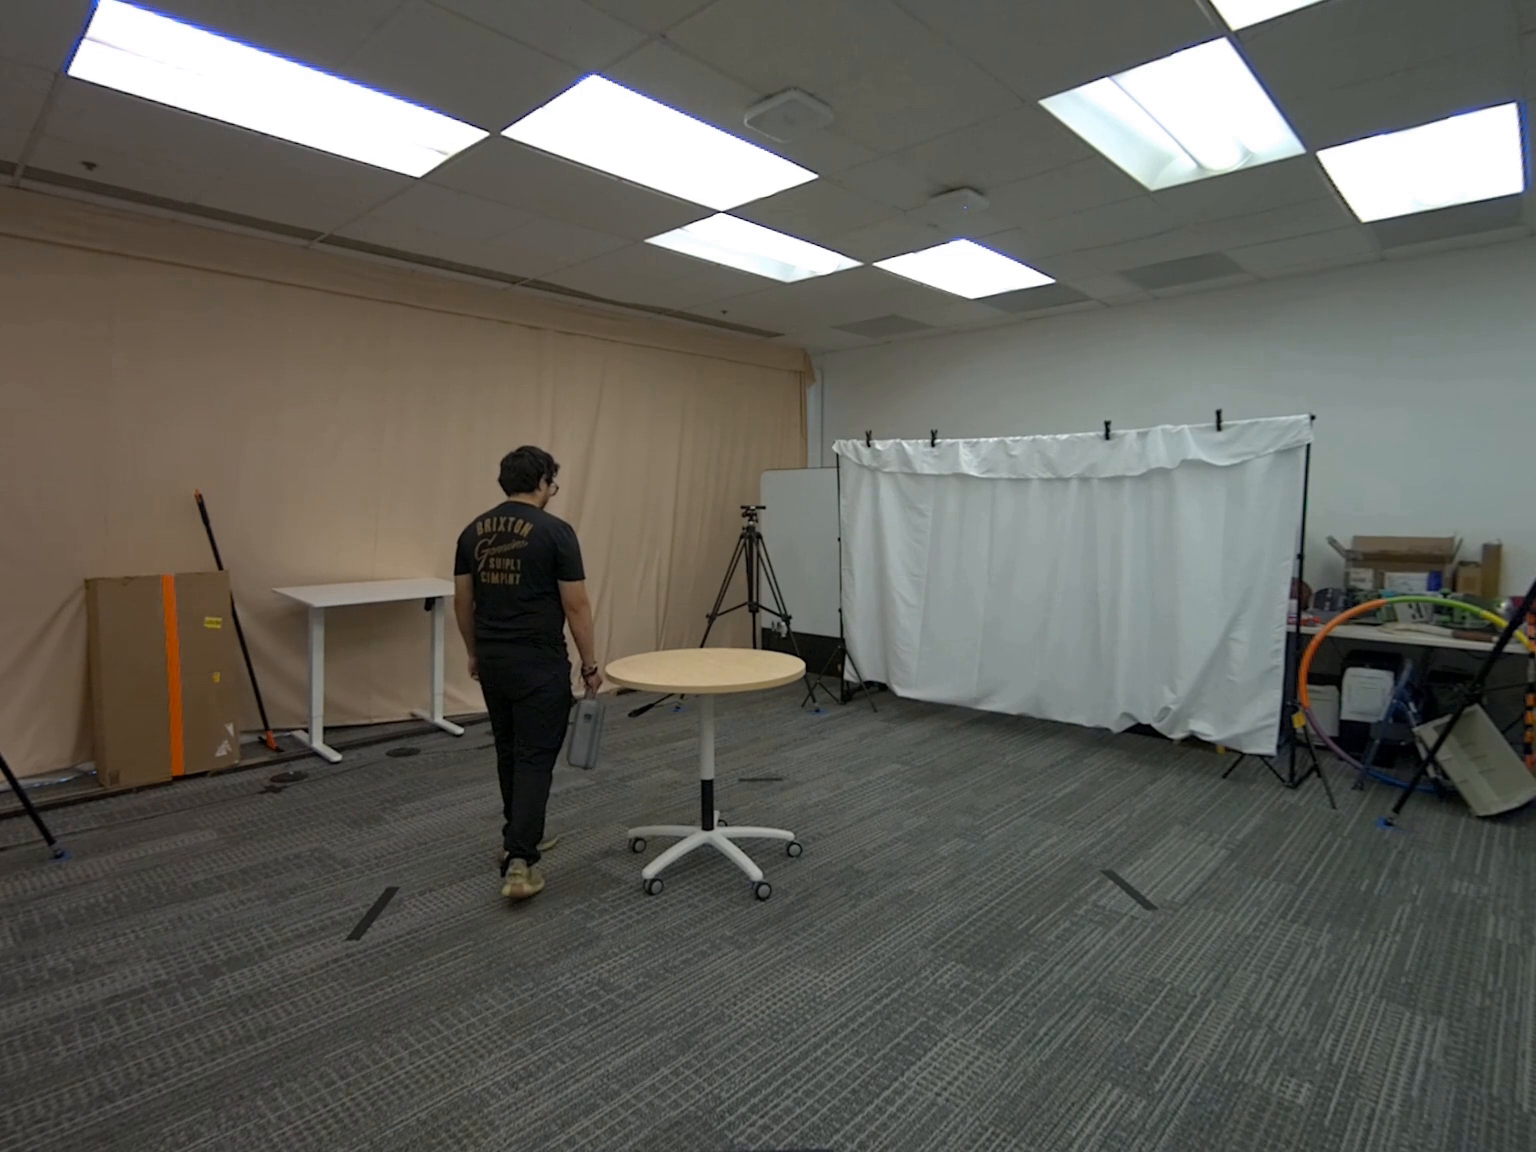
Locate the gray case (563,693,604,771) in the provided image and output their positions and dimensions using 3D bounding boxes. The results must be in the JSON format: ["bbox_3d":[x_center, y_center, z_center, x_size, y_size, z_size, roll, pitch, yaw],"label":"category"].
[{"bbox_3d":[-0.699,0.598,3.227,0.103,0.262,0.259,12,-11,-12],"label":"gray case"}]
